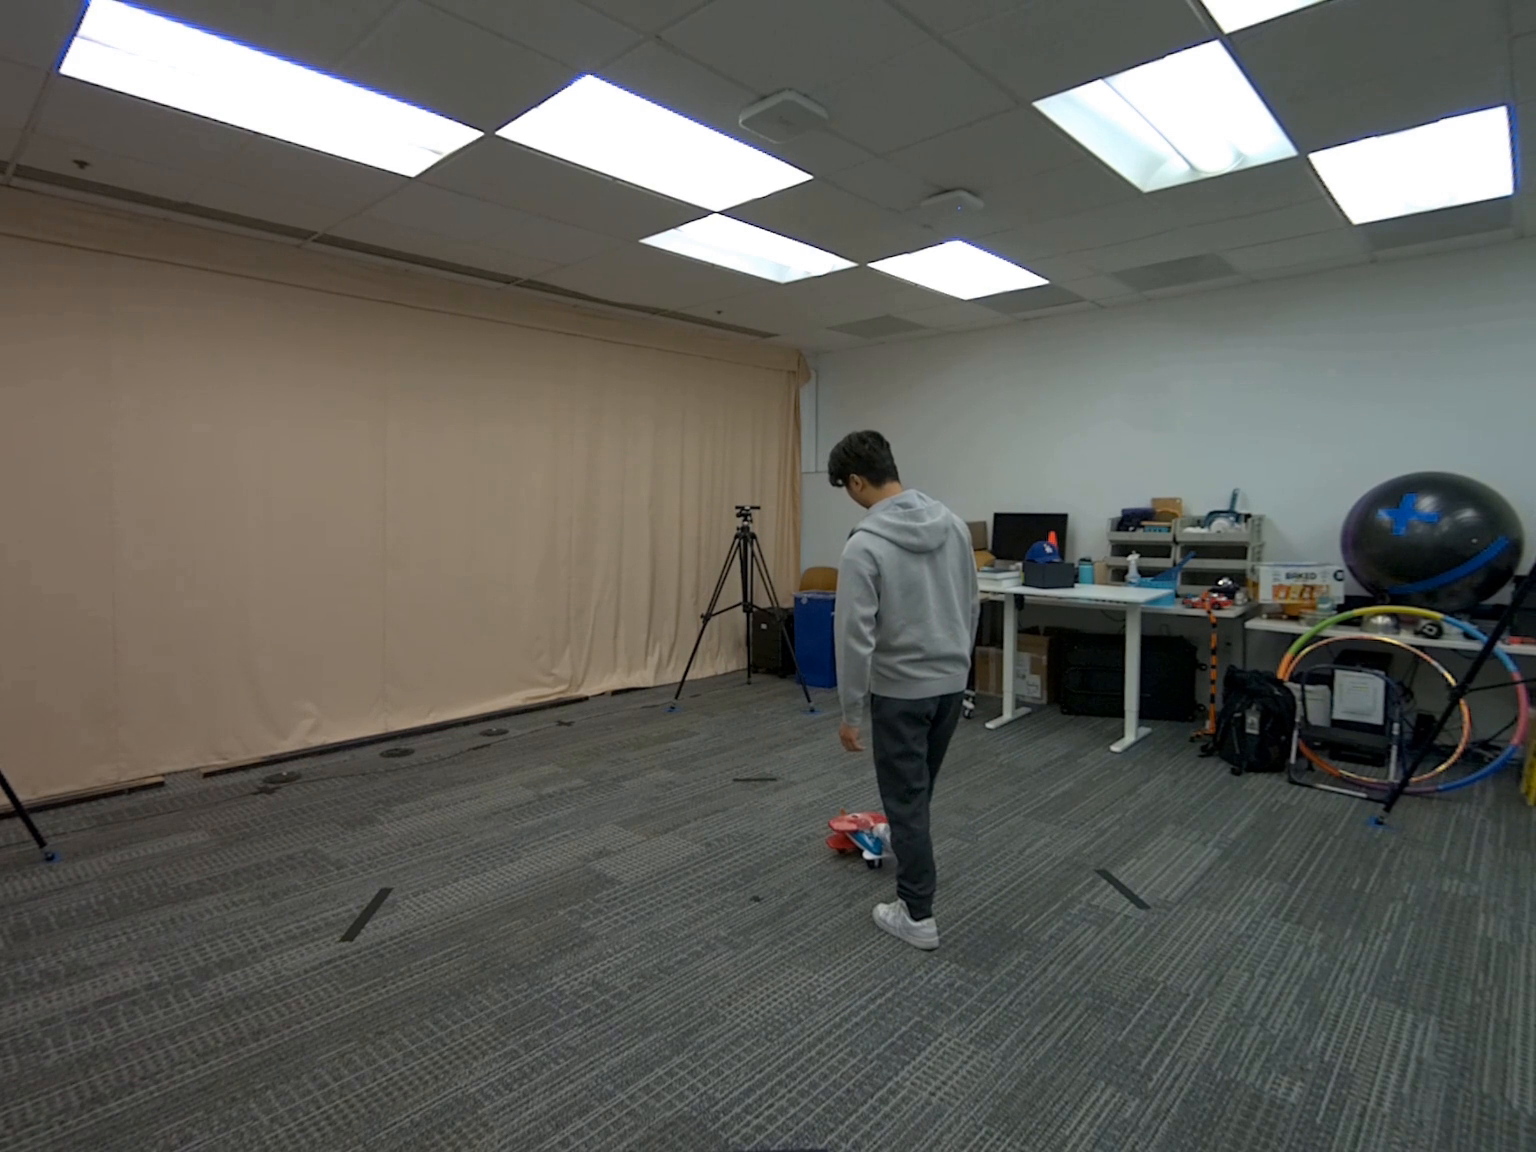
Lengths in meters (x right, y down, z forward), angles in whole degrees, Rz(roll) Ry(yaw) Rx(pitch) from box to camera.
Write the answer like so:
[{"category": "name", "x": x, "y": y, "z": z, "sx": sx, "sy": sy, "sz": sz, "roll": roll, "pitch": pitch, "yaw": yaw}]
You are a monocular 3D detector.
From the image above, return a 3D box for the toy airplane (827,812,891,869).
[{"category": "toy airplane", "x": 0.388, "y": 1.038, "z": 3.329, "sx": 0.268, "sy": 0.156, "sz": 0.243, "roll": 3, "pitch": 4, "yaw": 39}]
